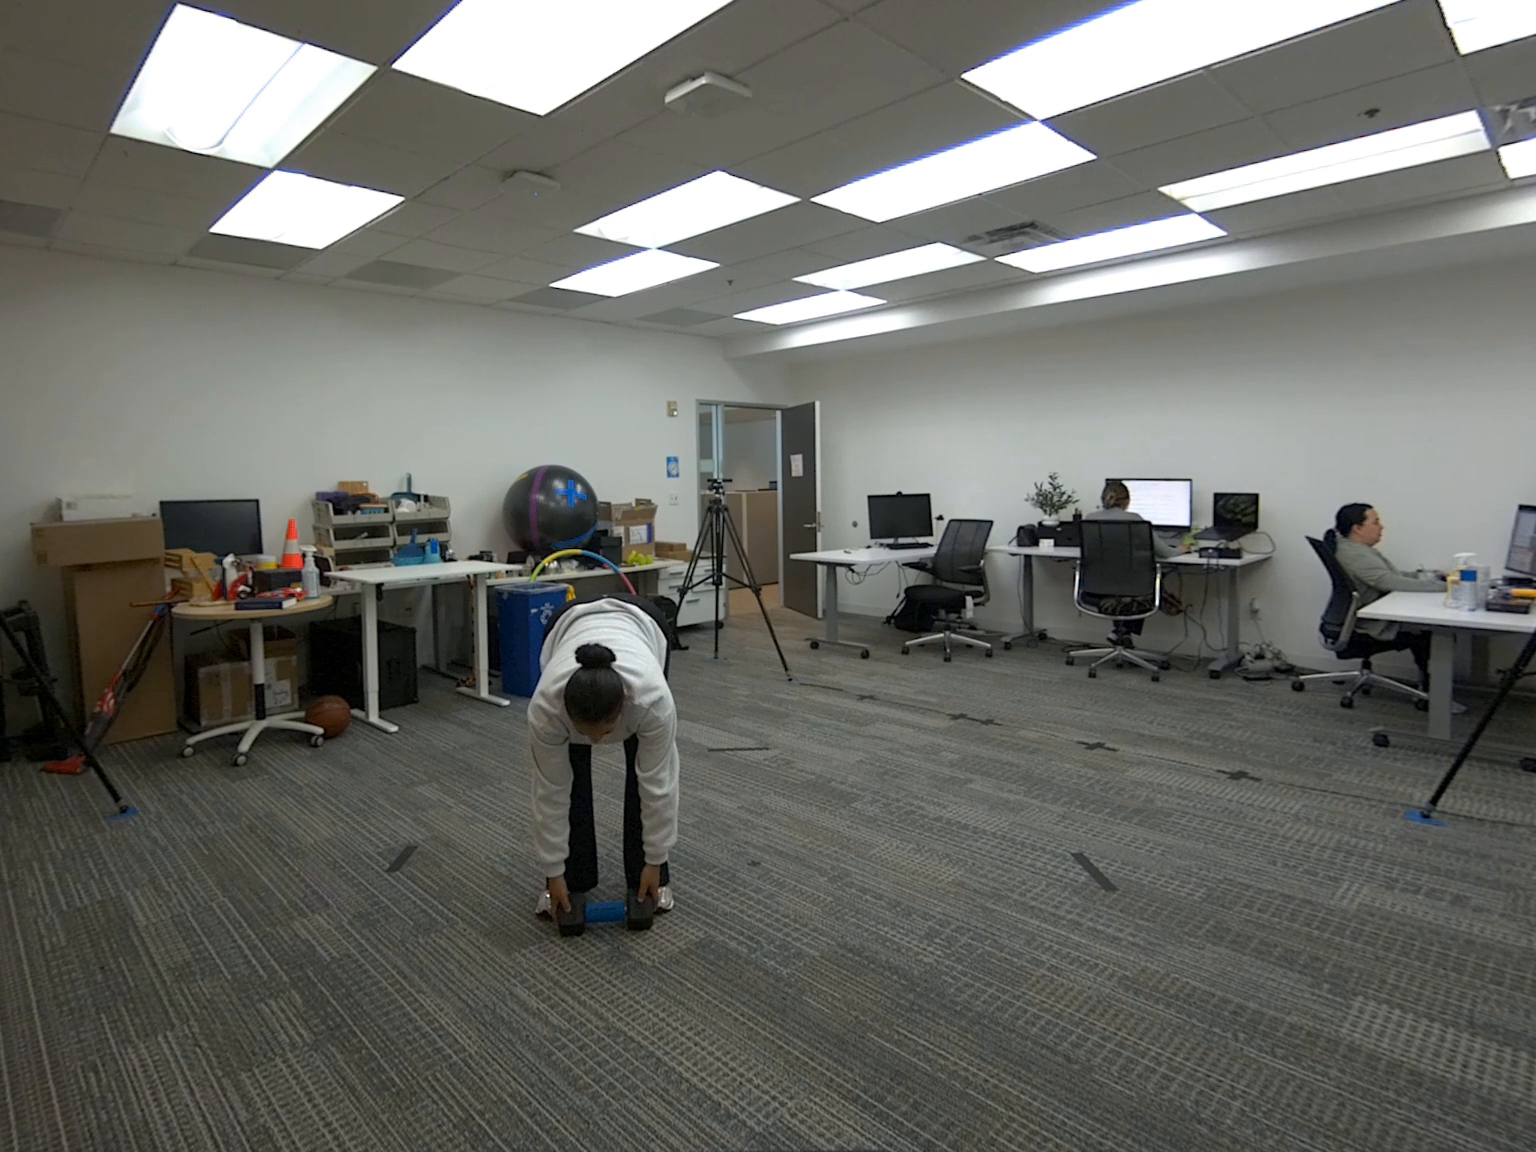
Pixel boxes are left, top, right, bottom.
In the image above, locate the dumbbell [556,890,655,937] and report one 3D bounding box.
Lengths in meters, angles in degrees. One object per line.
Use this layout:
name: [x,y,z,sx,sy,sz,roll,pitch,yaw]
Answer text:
dumbbell: [-0.521,1.058,2.689,0.291,0.126,0.107,-2,-28,-9]
